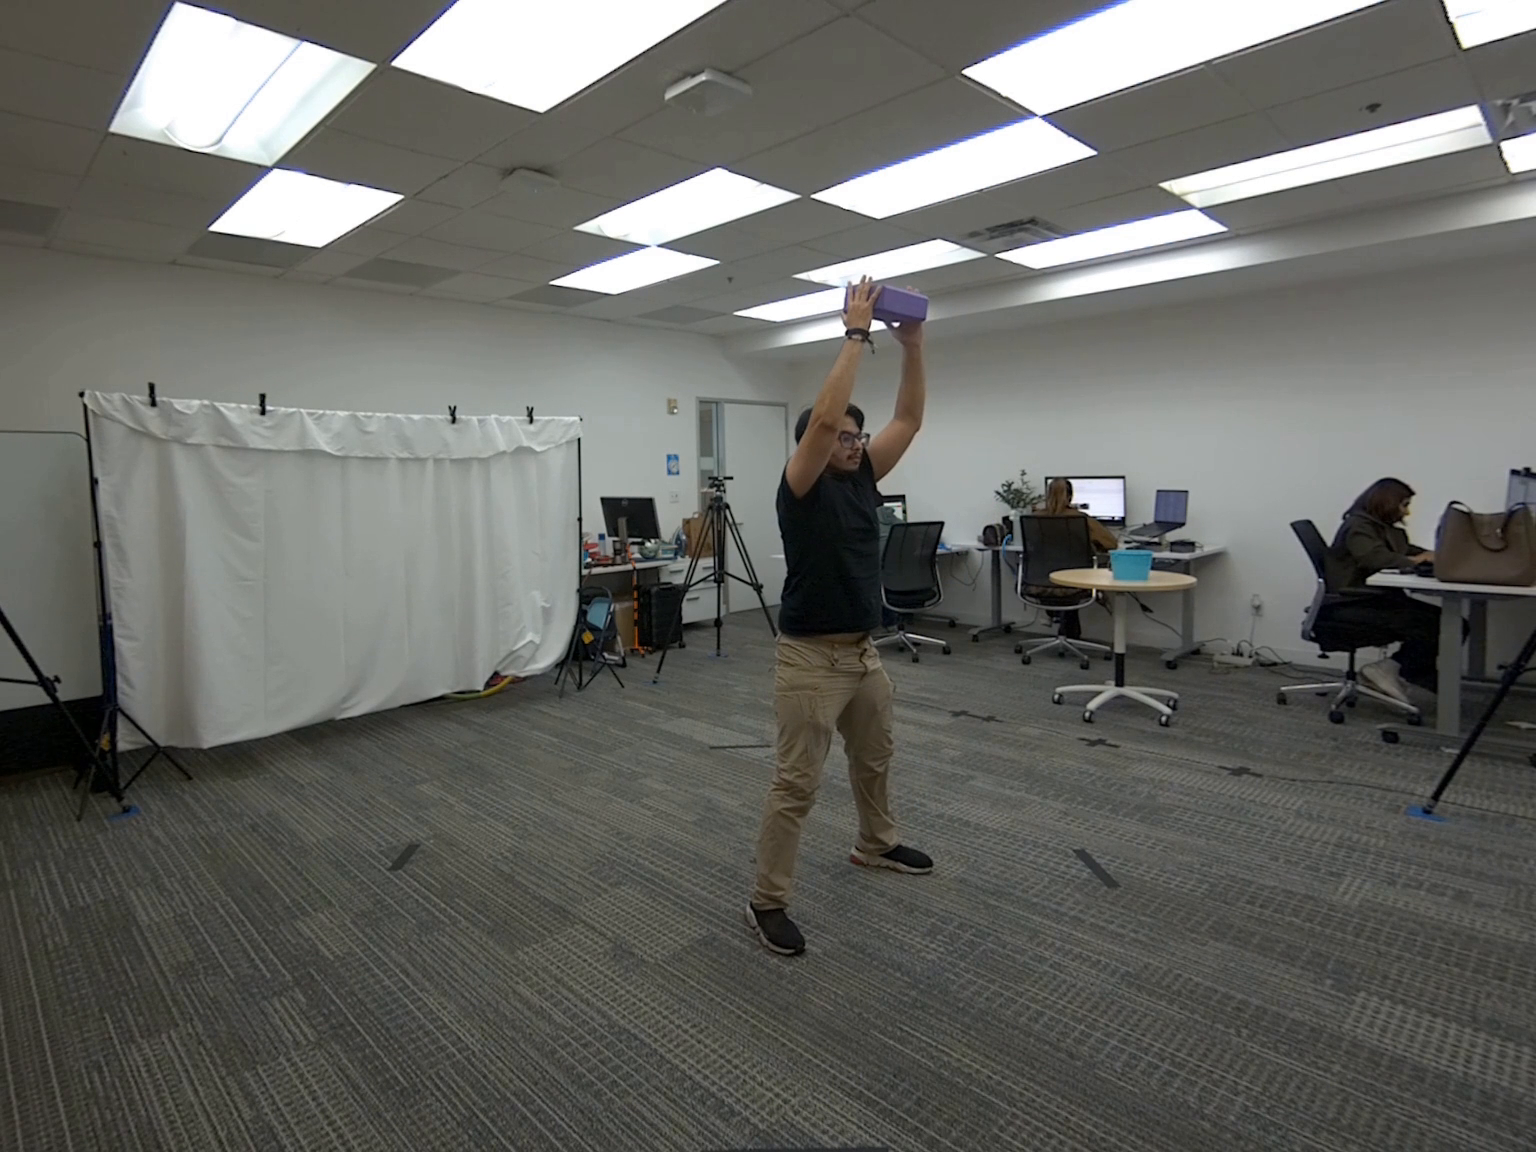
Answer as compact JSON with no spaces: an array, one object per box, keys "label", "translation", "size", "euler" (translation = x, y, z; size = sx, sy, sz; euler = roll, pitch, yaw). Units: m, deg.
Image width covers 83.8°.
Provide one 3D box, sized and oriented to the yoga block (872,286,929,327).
[{"label":"yoga block","translation":[0.353,-0.806,2.518],"size":[0.223,0.076,0.154],"euler":[-5,15,-44]}]
